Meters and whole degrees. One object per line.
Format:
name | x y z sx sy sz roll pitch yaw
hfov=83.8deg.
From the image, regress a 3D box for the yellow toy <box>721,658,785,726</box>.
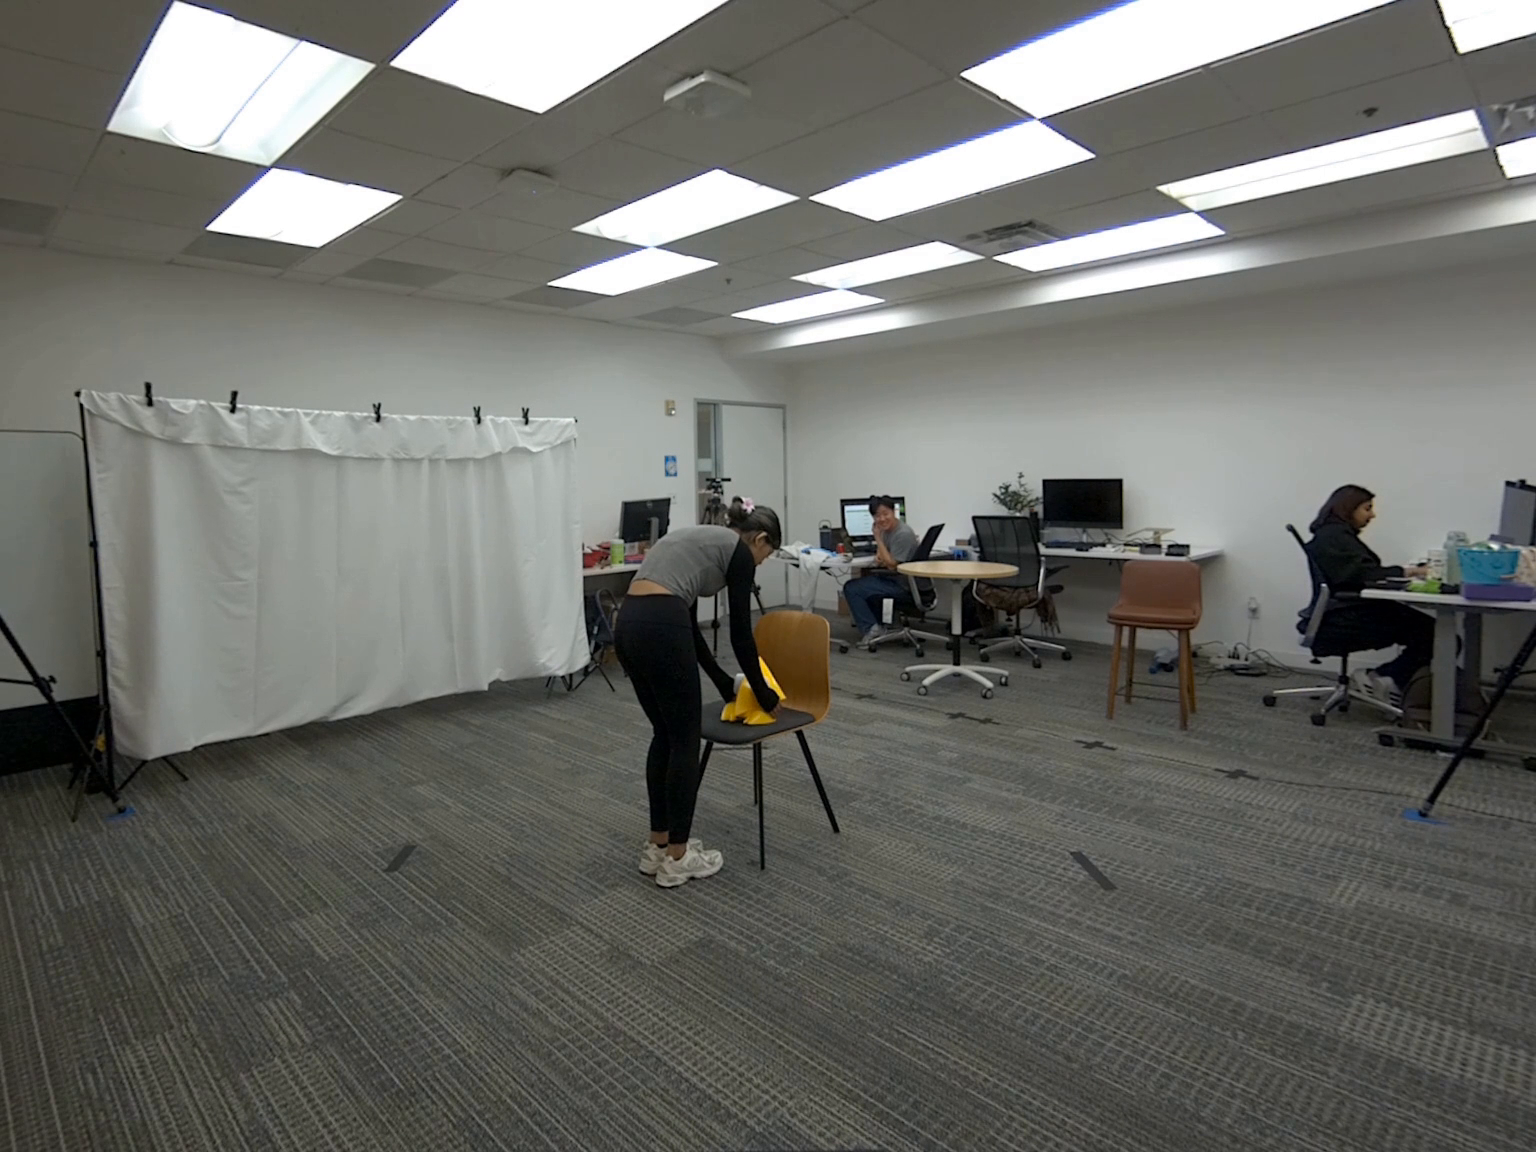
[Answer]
yellow toy | -0.071 0.430 3.246 0.210 0.231 0.187 0 -1 37
